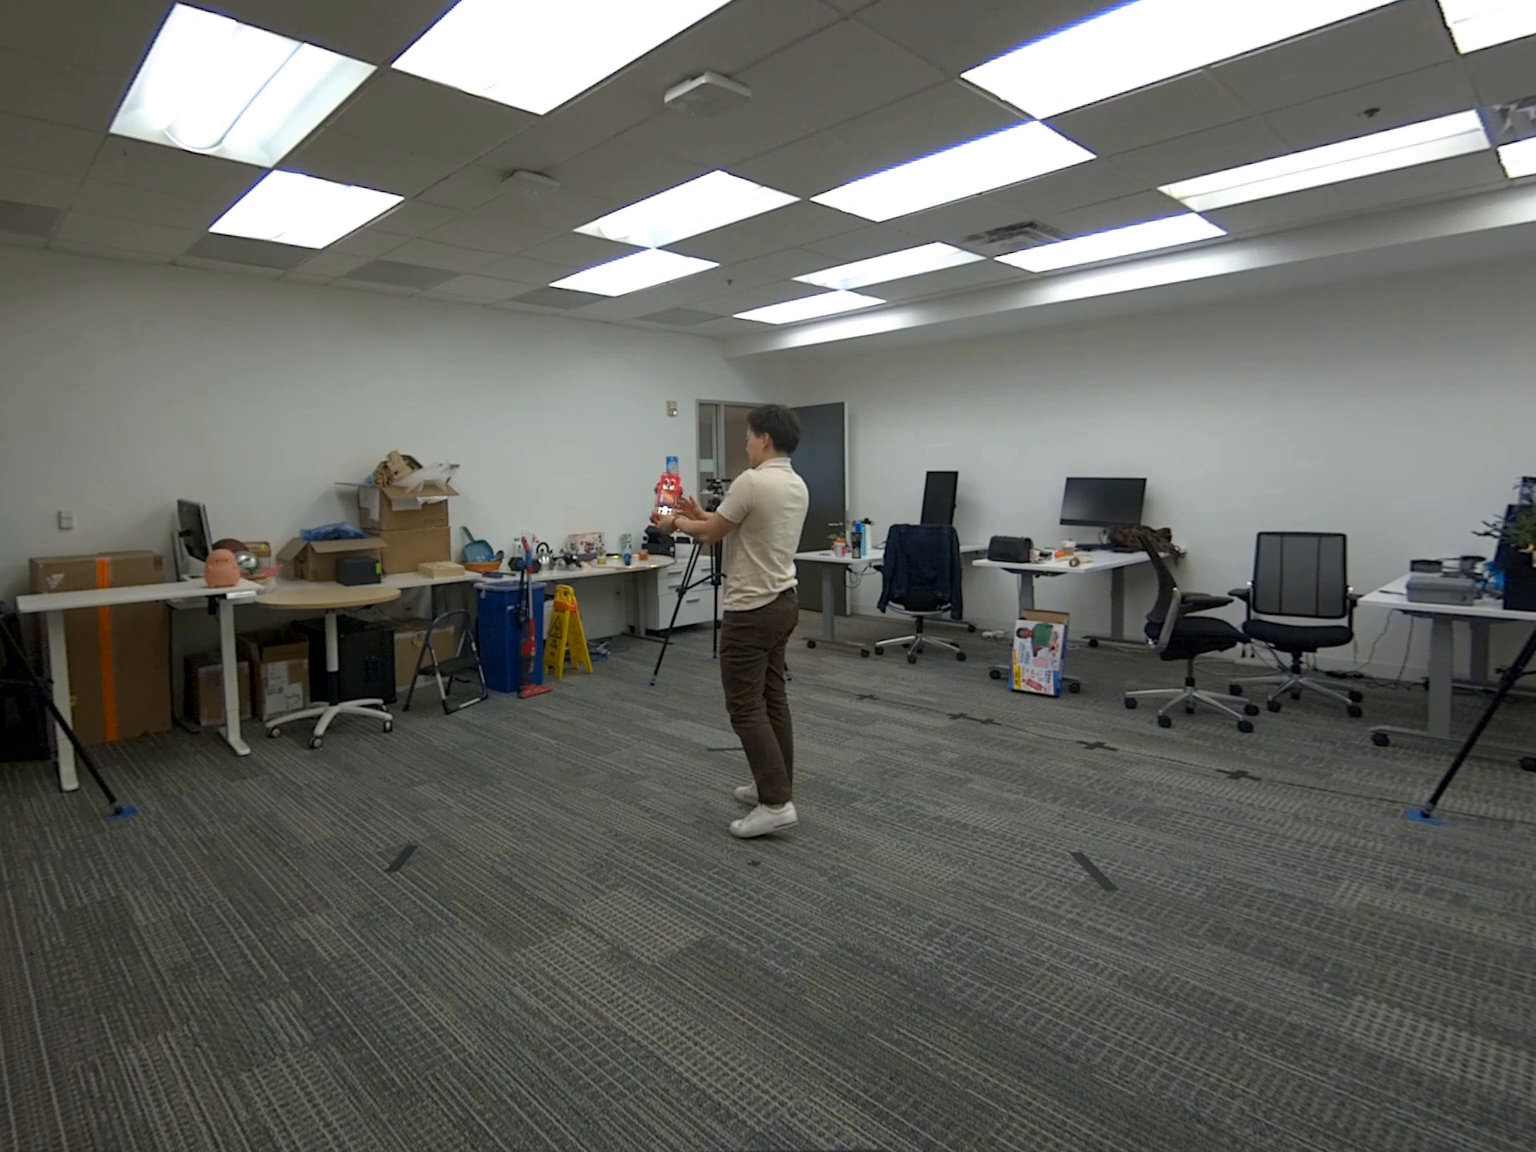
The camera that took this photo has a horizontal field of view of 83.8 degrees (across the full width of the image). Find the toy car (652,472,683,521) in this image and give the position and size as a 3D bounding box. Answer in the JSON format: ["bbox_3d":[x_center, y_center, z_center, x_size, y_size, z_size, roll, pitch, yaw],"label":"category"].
[{"bbox_3d":[-0.431,-0.338,3.749,0.130,0.258,0.082,4,-16,0],"label":"toy car"}]
